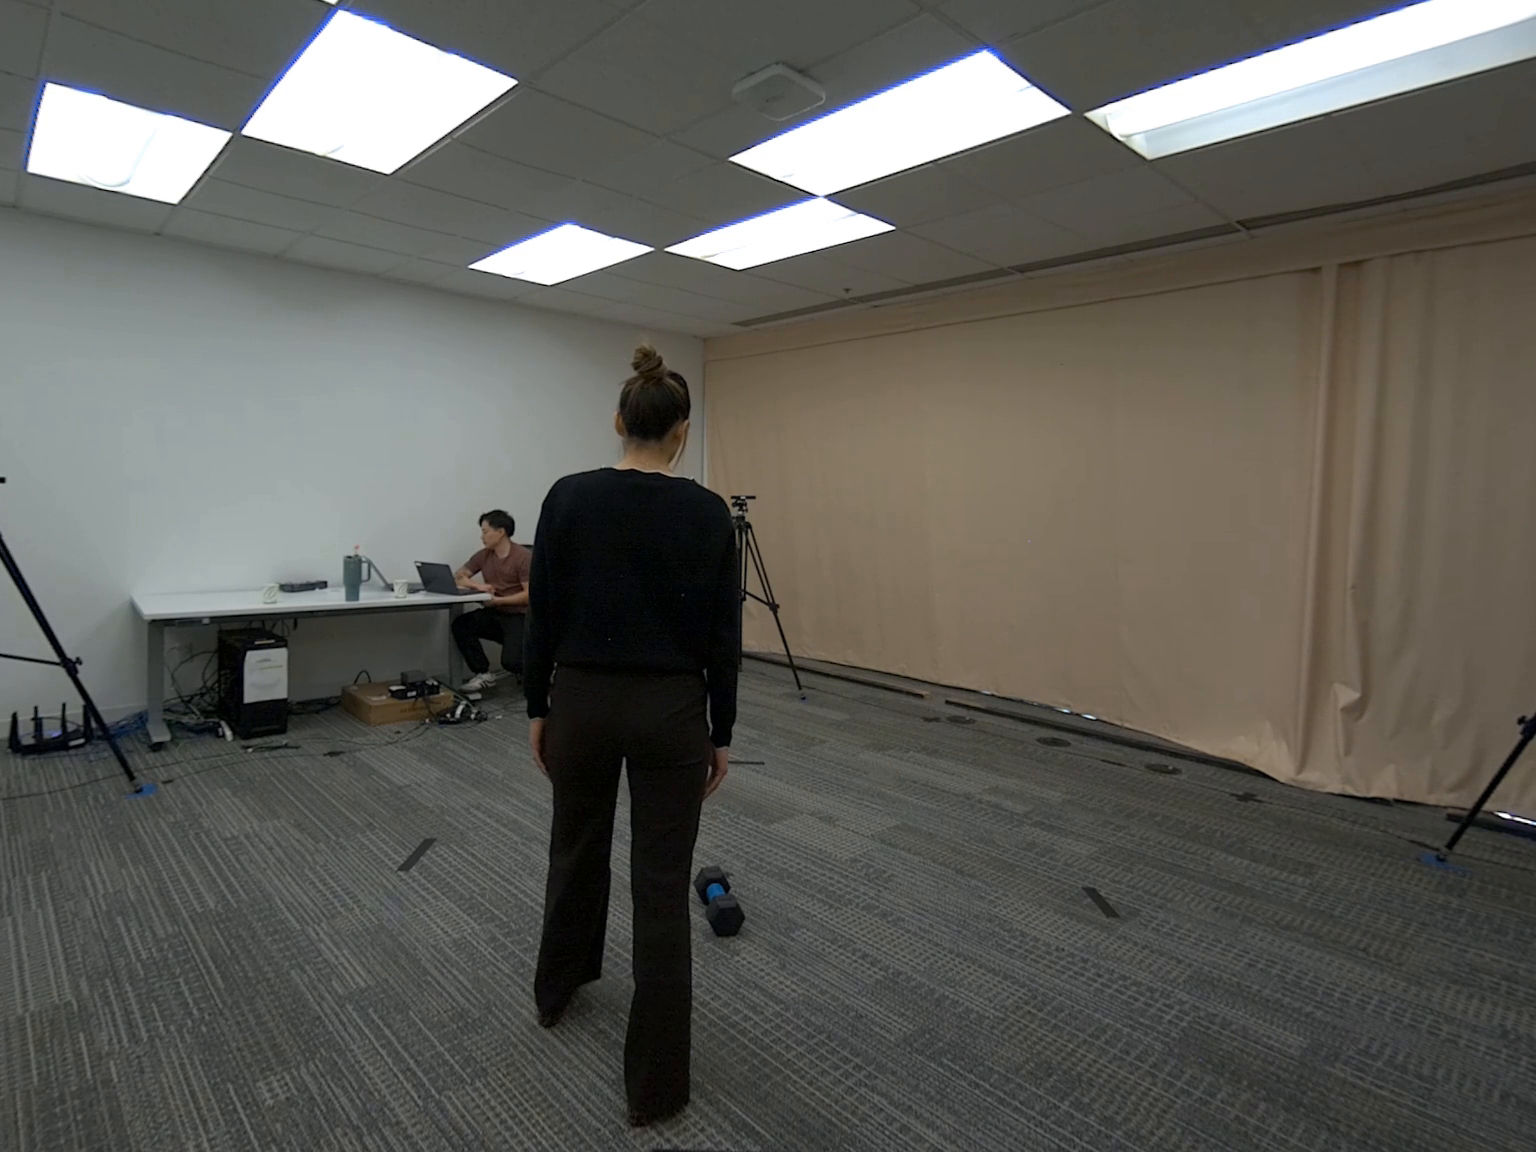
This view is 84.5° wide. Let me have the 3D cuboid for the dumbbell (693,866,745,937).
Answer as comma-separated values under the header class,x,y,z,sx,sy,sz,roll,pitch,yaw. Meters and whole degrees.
class,x,y,z,sx,sy,sz,roll,pitch,yaw
dumbbell,-0.172,1.080,2.794,0.107,0.123,0.297,31,-3,-15
